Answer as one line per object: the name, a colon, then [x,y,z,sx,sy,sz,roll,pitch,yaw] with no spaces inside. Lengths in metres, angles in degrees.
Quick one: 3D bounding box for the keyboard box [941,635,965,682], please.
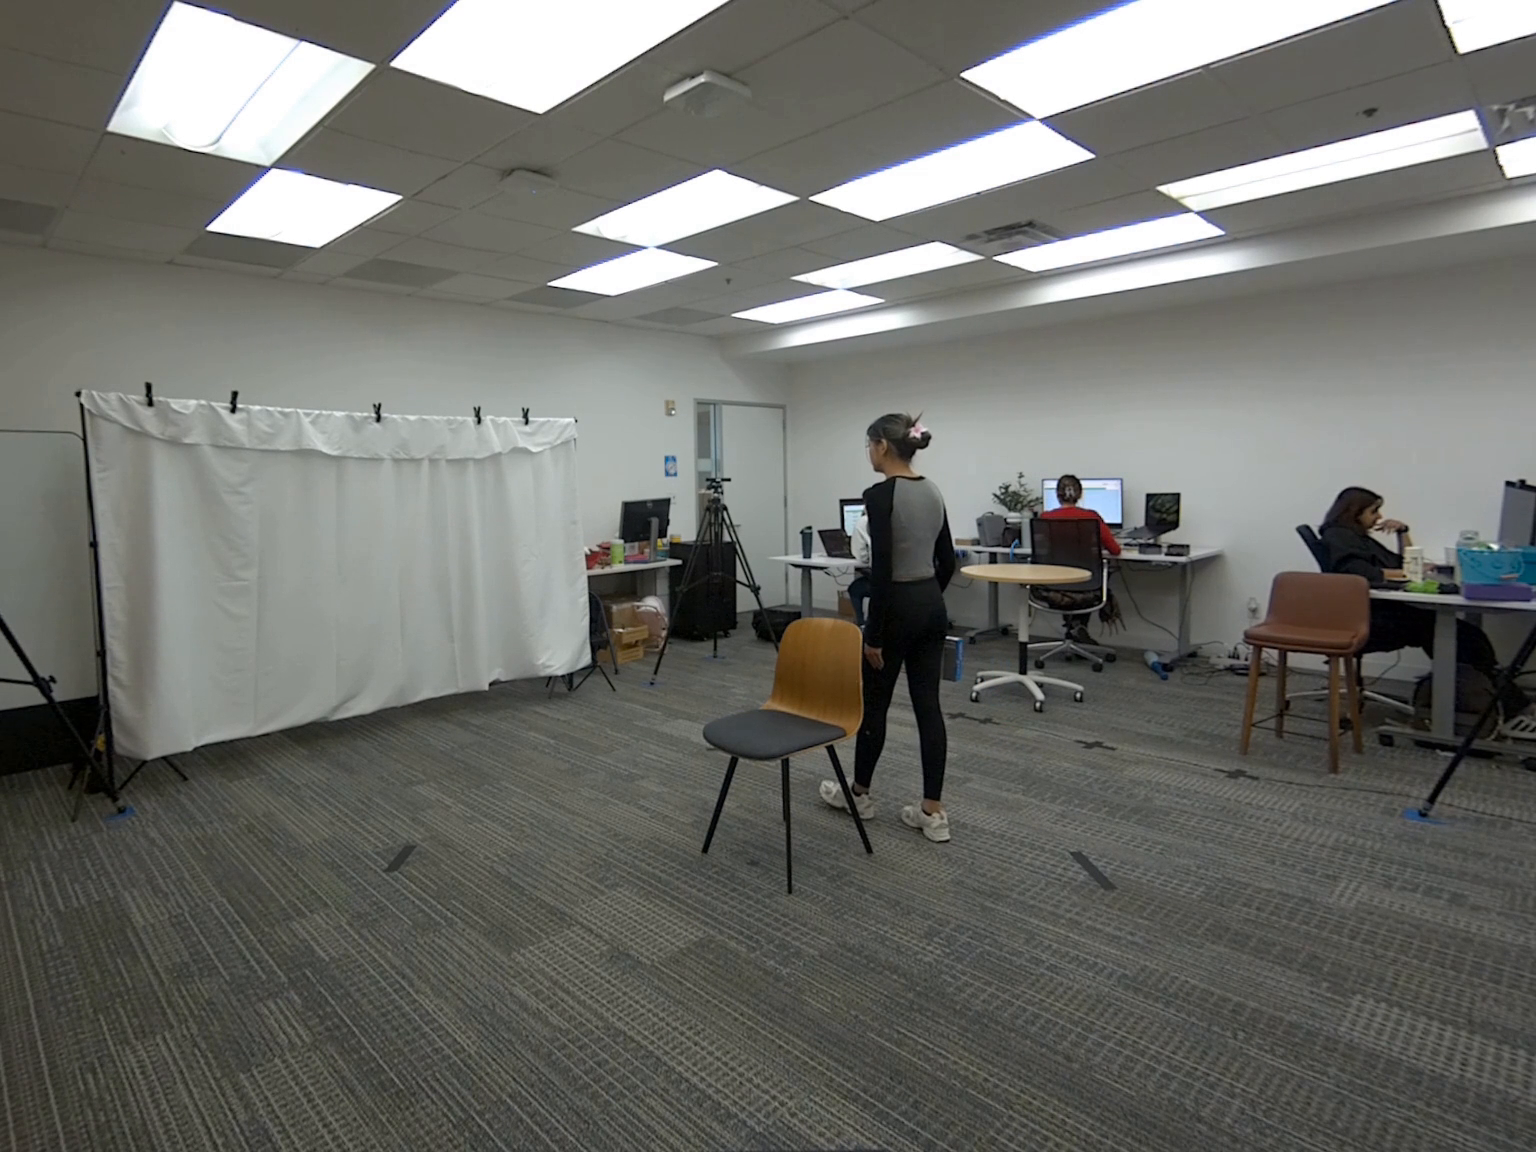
keyboard box: [0.604,0.325,3.603,0.450,0.175,0.057,7,6,35]
